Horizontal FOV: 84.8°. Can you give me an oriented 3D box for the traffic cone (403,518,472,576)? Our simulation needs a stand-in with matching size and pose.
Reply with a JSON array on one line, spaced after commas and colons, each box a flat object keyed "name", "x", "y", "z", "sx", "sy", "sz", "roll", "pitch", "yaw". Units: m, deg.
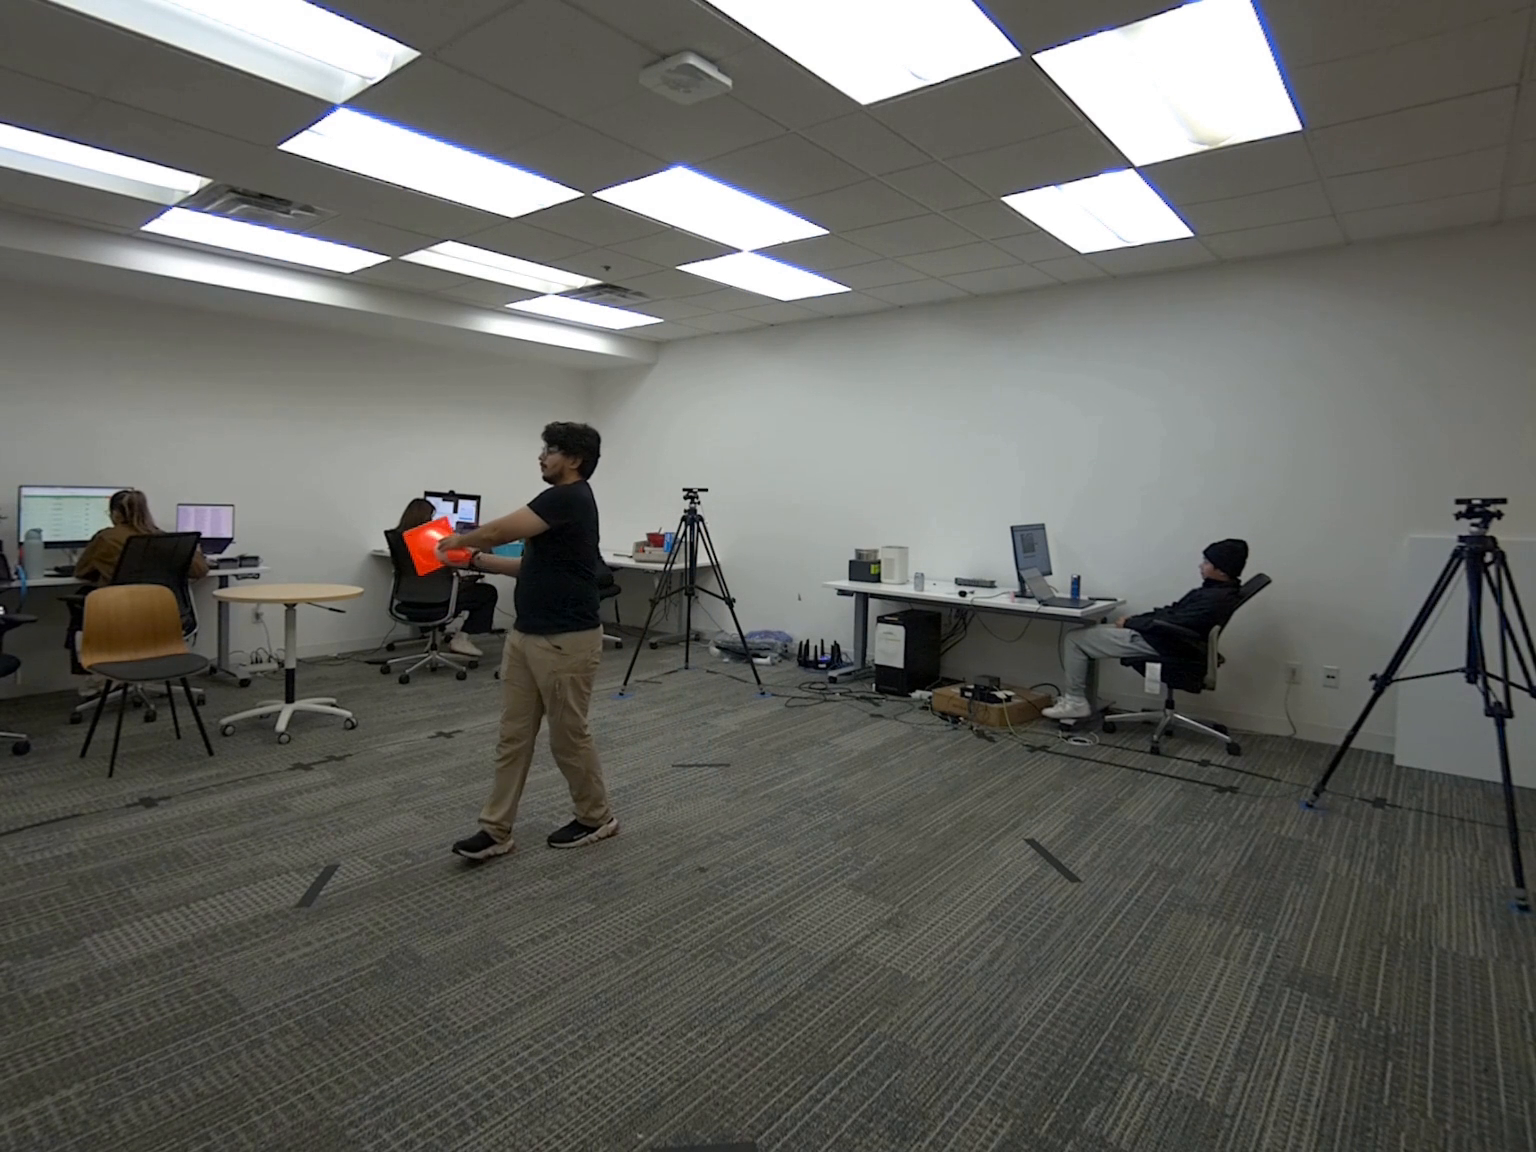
[{"name": "traffic cone", "x": -1.302, "y": -0.099, "z": 3.417, "sx": 0.202, "sy": 0.199, "sz": 0.398, "roll": -24, "pitch": 23, "yaw": -33}]
